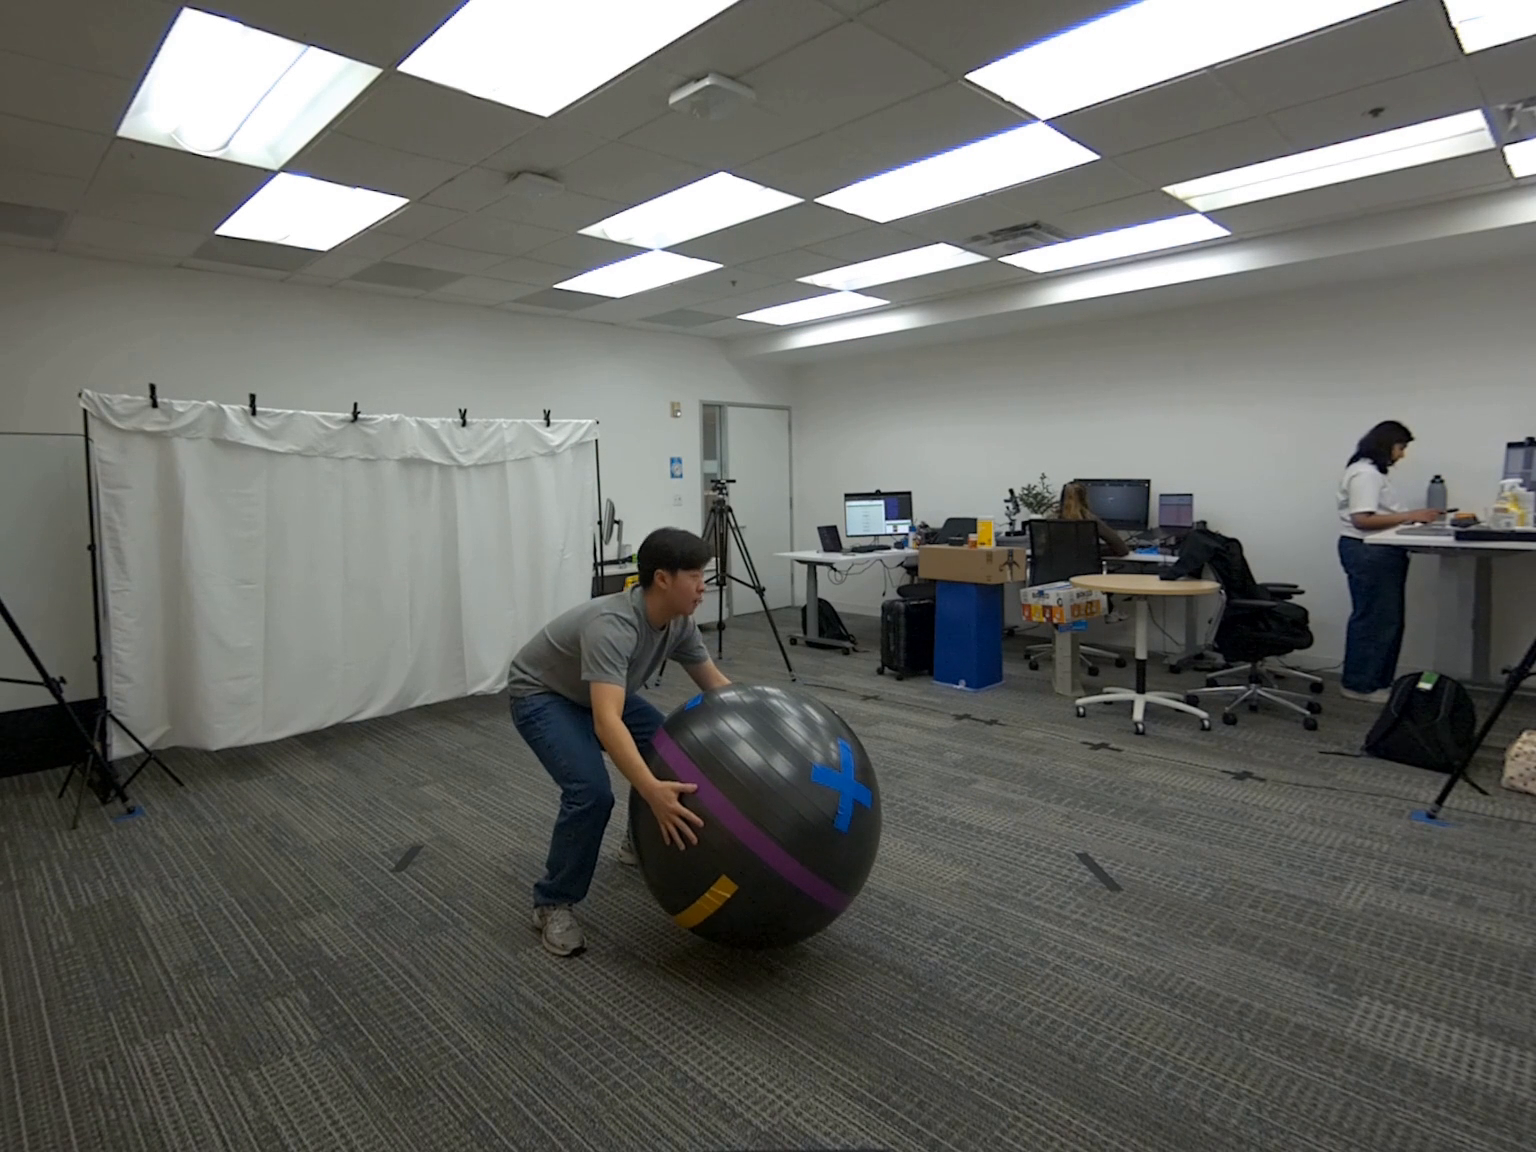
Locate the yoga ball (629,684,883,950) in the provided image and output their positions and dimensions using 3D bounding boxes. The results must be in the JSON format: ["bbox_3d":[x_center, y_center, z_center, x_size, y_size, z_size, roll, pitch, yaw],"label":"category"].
[{"bbox_3d":[-0.035,0.697,2.557,0.757,0.755,0.762,-1,5,-2],"label":"yoga ball"}]
